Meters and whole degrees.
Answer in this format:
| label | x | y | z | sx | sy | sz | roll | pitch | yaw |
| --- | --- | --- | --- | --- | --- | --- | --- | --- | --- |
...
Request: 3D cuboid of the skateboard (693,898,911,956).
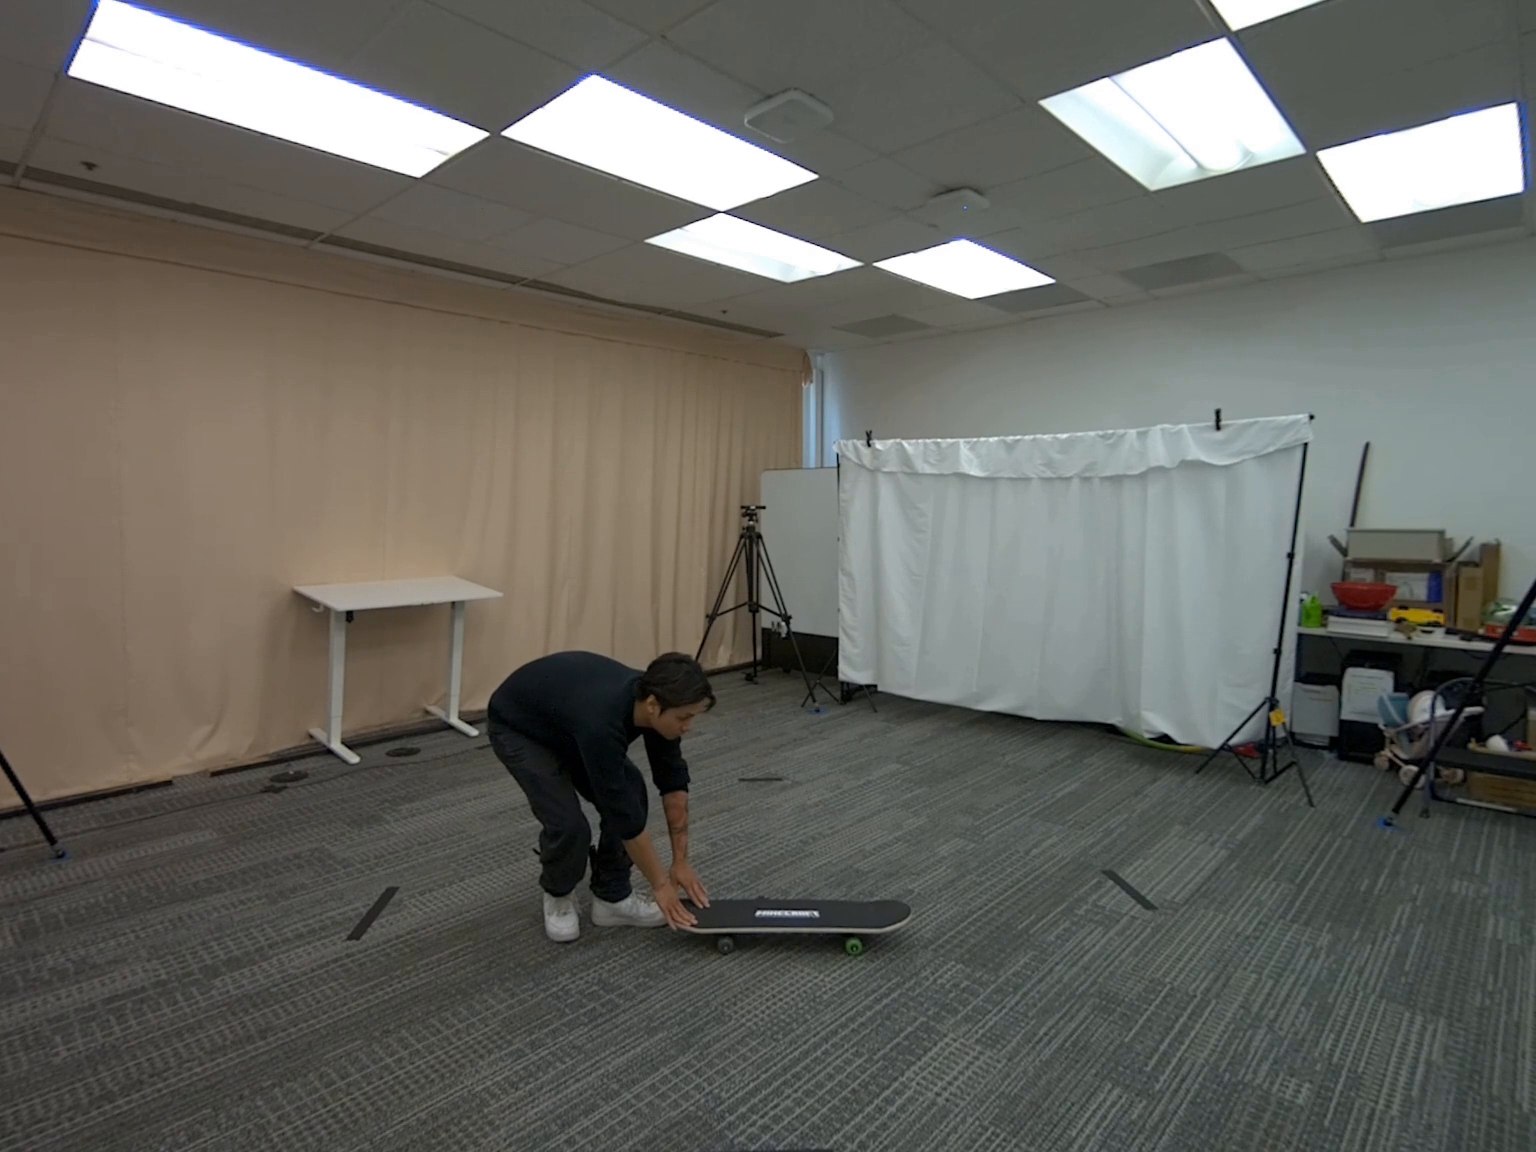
| label | x | y | z | sx | sy | sz | roll | pitch | yaw |
| --- | --- | --- | --- | --- | --- | --- | --- | --- | --- |
| skateboard | 0.072 | 1.116 | 2.683 | 0.786 | 0.110 | 0.194 | -1 | 5 | 0 |
